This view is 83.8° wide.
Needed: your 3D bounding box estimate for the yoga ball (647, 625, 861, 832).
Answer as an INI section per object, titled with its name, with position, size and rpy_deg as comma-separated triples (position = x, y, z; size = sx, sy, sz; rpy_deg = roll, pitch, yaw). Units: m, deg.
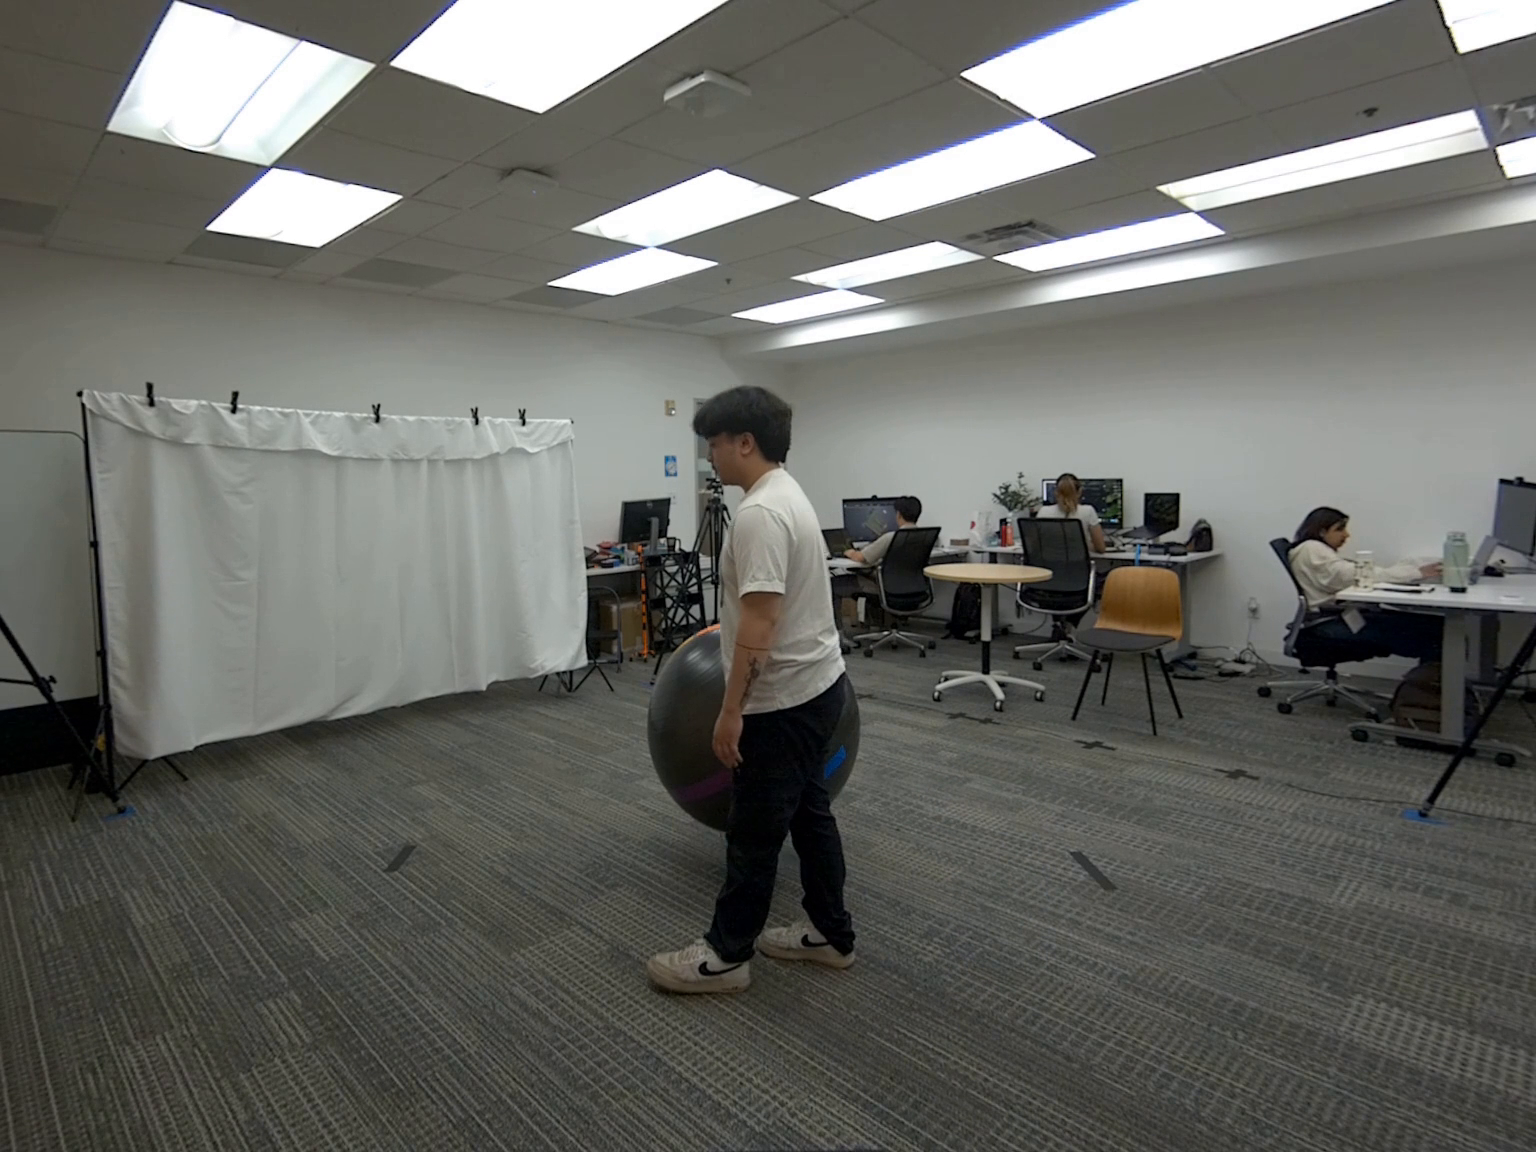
[yoga ball]
position = -0.056, 0.536, 3.067
size = 0.757, 0.755, 0.762
rpy_deg = -1, 5, -2
